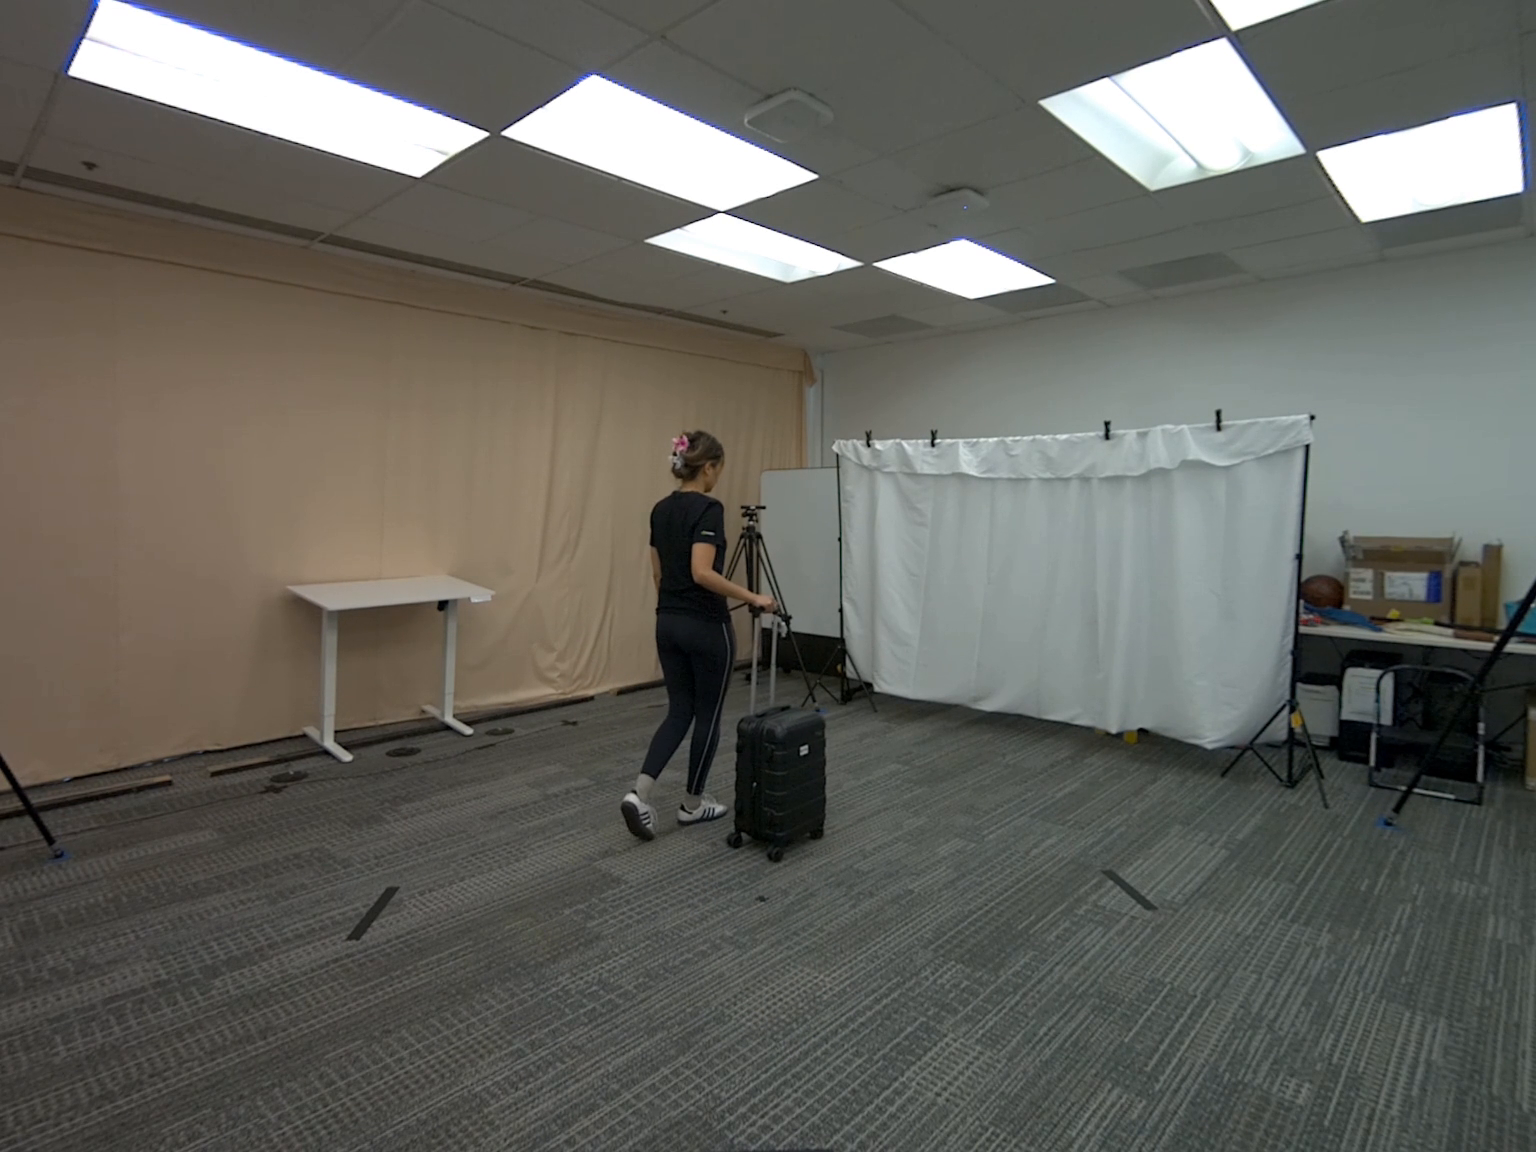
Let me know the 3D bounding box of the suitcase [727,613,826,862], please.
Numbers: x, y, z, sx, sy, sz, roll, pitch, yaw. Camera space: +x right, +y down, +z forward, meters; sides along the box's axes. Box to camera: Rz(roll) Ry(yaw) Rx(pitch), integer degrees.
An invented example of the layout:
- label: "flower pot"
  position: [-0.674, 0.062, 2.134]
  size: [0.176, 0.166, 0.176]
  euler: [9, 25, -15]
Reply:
- label: "suitcase"
  position: [0.065, 0.626, 3.466]
  size: [0.266, 0.977, 0.372]
  euler: [6, 4, 38]
